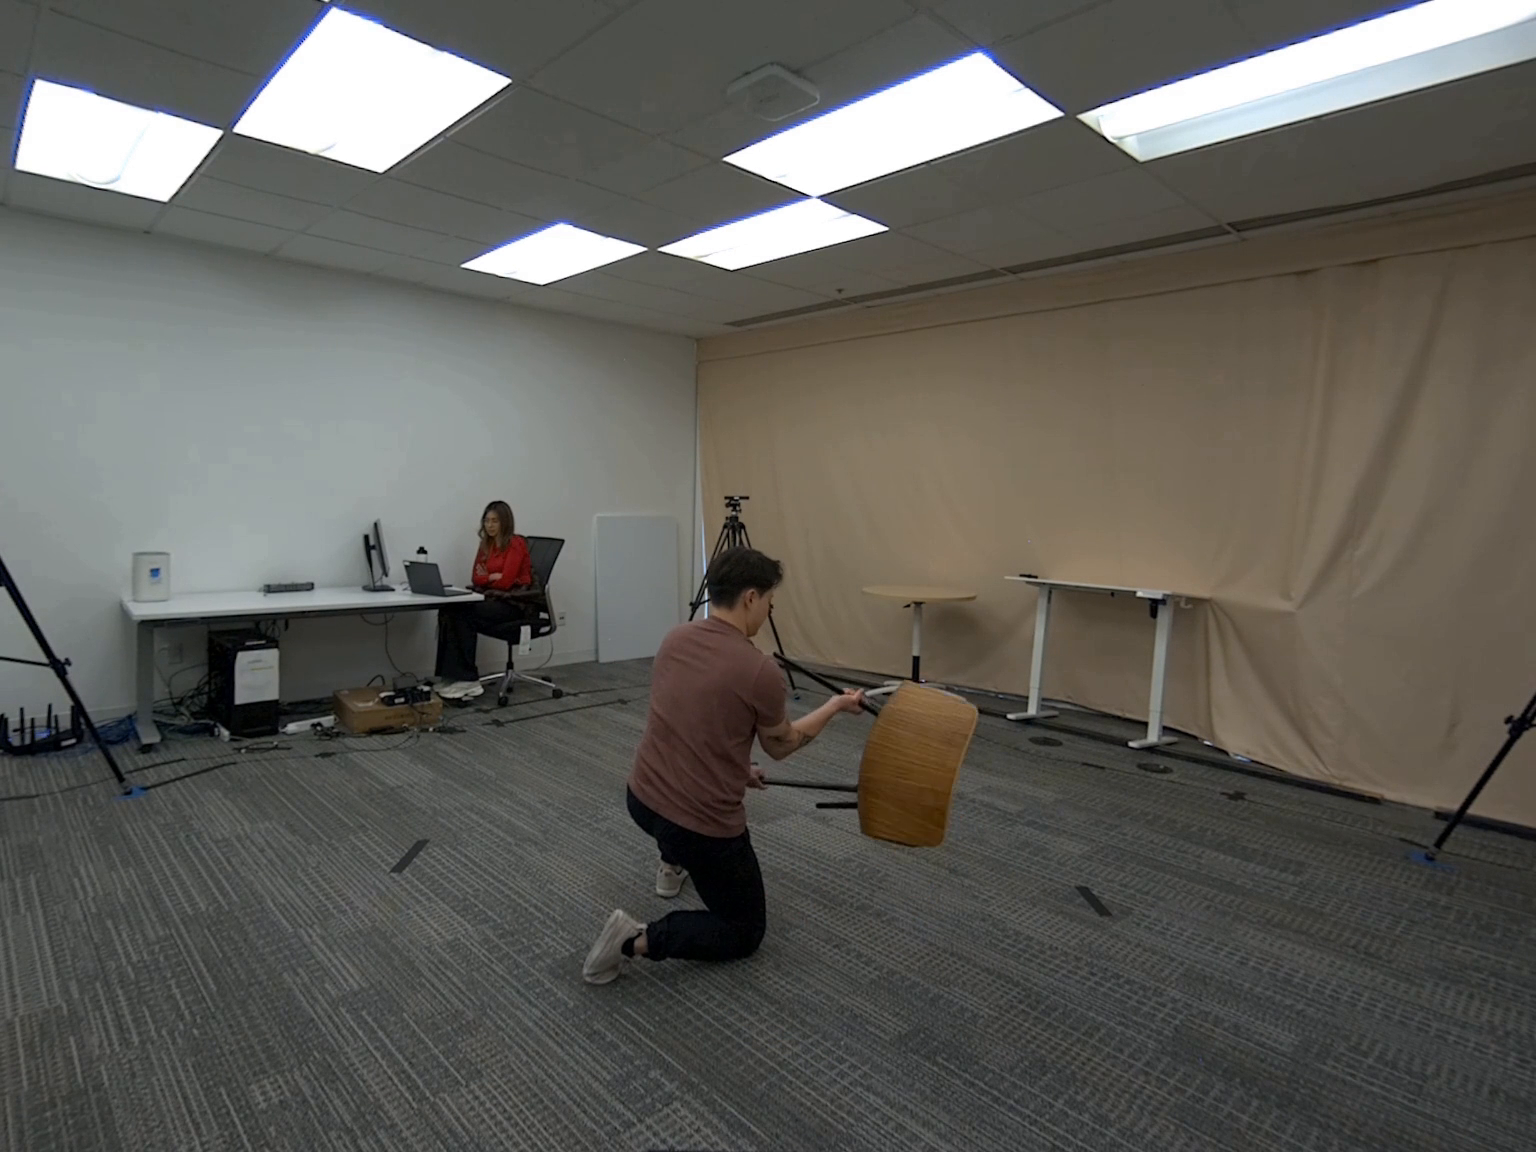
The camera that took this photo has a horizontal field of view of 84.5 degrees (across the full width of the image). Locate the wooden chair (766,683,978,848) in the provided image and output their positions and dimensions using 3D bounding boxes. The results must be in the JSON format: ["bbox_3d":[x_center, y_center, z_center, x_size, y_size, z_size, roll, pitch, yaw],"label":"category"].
[{"bbox_3d":[0.391,0.582,2.641,0.508,0.481,0.898,27,-15,-35],"label":"wooden chair"}]
